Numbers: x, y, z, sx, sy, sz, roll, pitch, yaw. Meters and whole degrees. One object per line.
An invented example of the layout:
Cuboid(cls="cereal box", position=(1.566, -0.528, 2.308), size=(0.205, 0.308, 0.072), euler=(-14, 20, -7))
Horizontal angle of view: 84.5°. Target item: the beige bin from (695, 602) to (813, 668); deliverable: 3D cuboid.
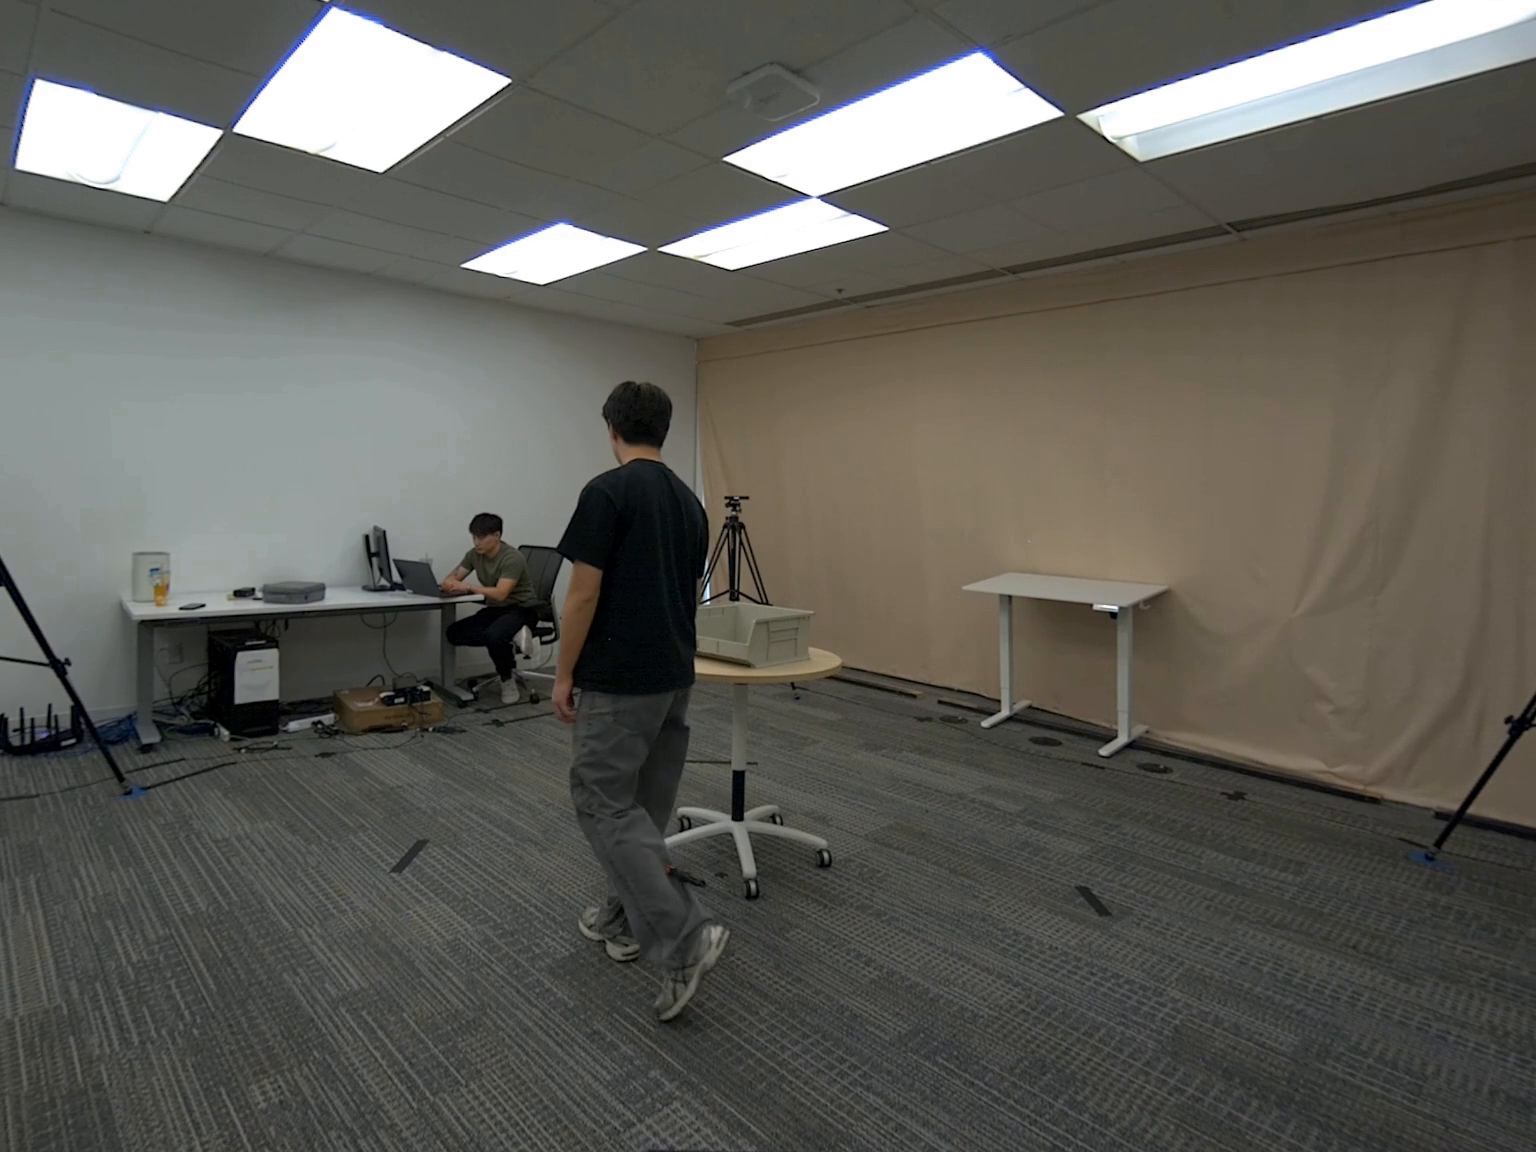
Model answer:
Cuboid(cls="beige bin", position=(-0.110, 0.224, 3.232), size=(0.433, 0.189, 0.368), euler=(5, 4, 42))
